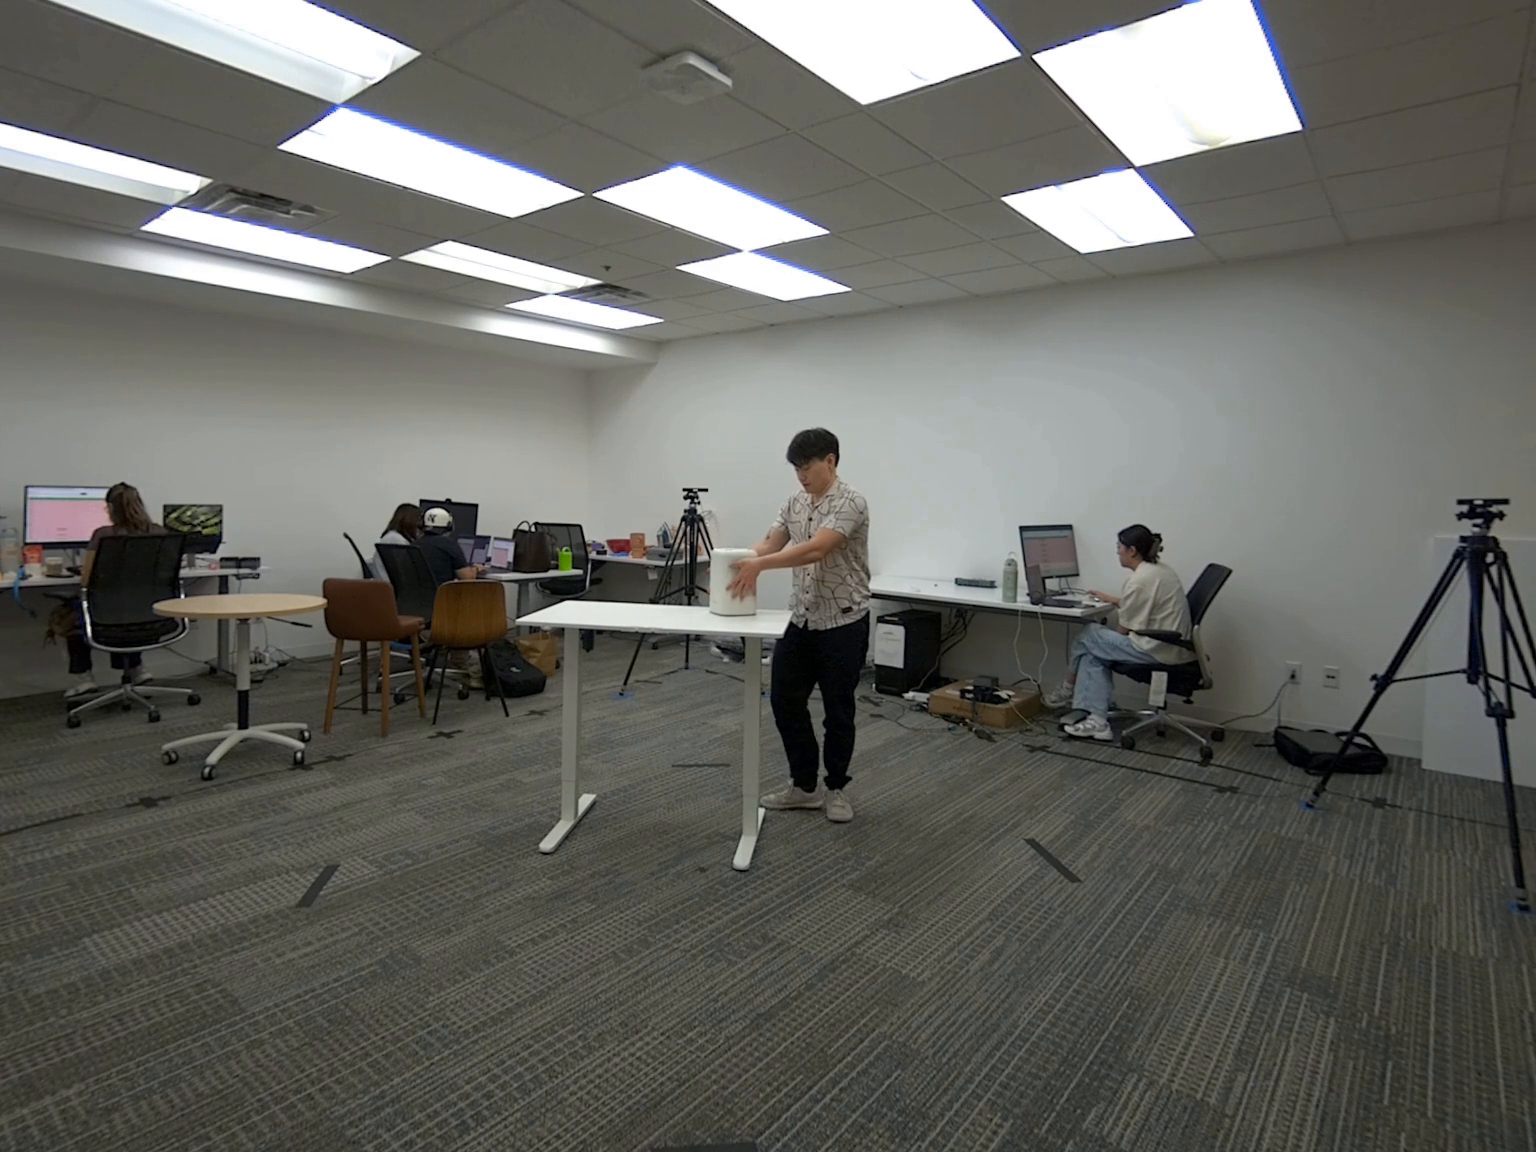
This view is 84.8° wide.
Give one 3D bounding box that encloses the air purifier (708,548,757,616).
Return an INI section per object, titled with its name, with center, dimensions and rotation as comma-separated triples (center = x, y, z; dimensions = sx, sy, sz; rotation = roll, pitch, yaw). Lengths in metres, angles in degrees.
[air purifier]
center = -0.151, 0.016, 3.500
dimensions = 0.167, 0.265, 0.175
rotation = 5, 1, -23
